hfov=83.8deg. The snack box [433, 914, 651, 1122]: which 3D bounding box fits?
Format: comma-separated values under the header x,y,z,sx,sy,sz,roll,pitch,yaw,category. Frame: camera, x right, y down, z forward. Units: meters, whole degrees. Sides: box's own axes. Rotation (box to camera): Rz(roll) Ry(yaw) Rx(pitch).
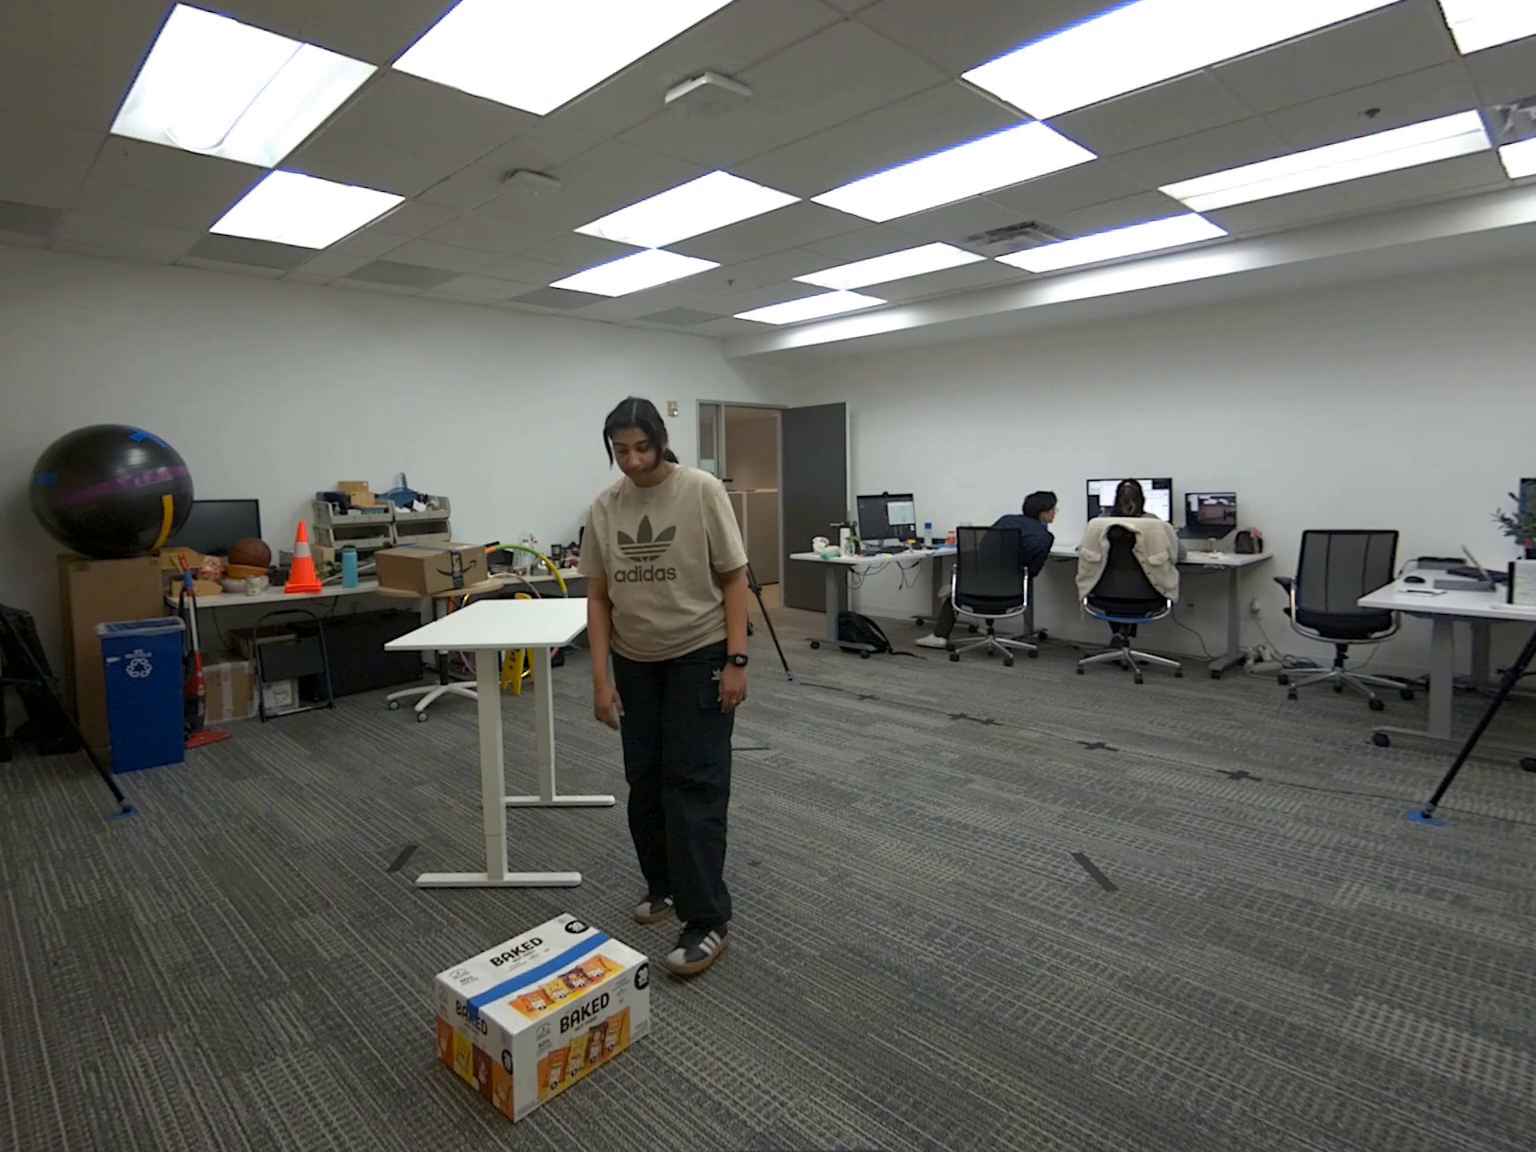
x,y,z,sx,sy,sz,roll,pitch,yaw,category
-0.550,1.072,2.122,0.351,0.205,0.395,4,8,41,snack box
